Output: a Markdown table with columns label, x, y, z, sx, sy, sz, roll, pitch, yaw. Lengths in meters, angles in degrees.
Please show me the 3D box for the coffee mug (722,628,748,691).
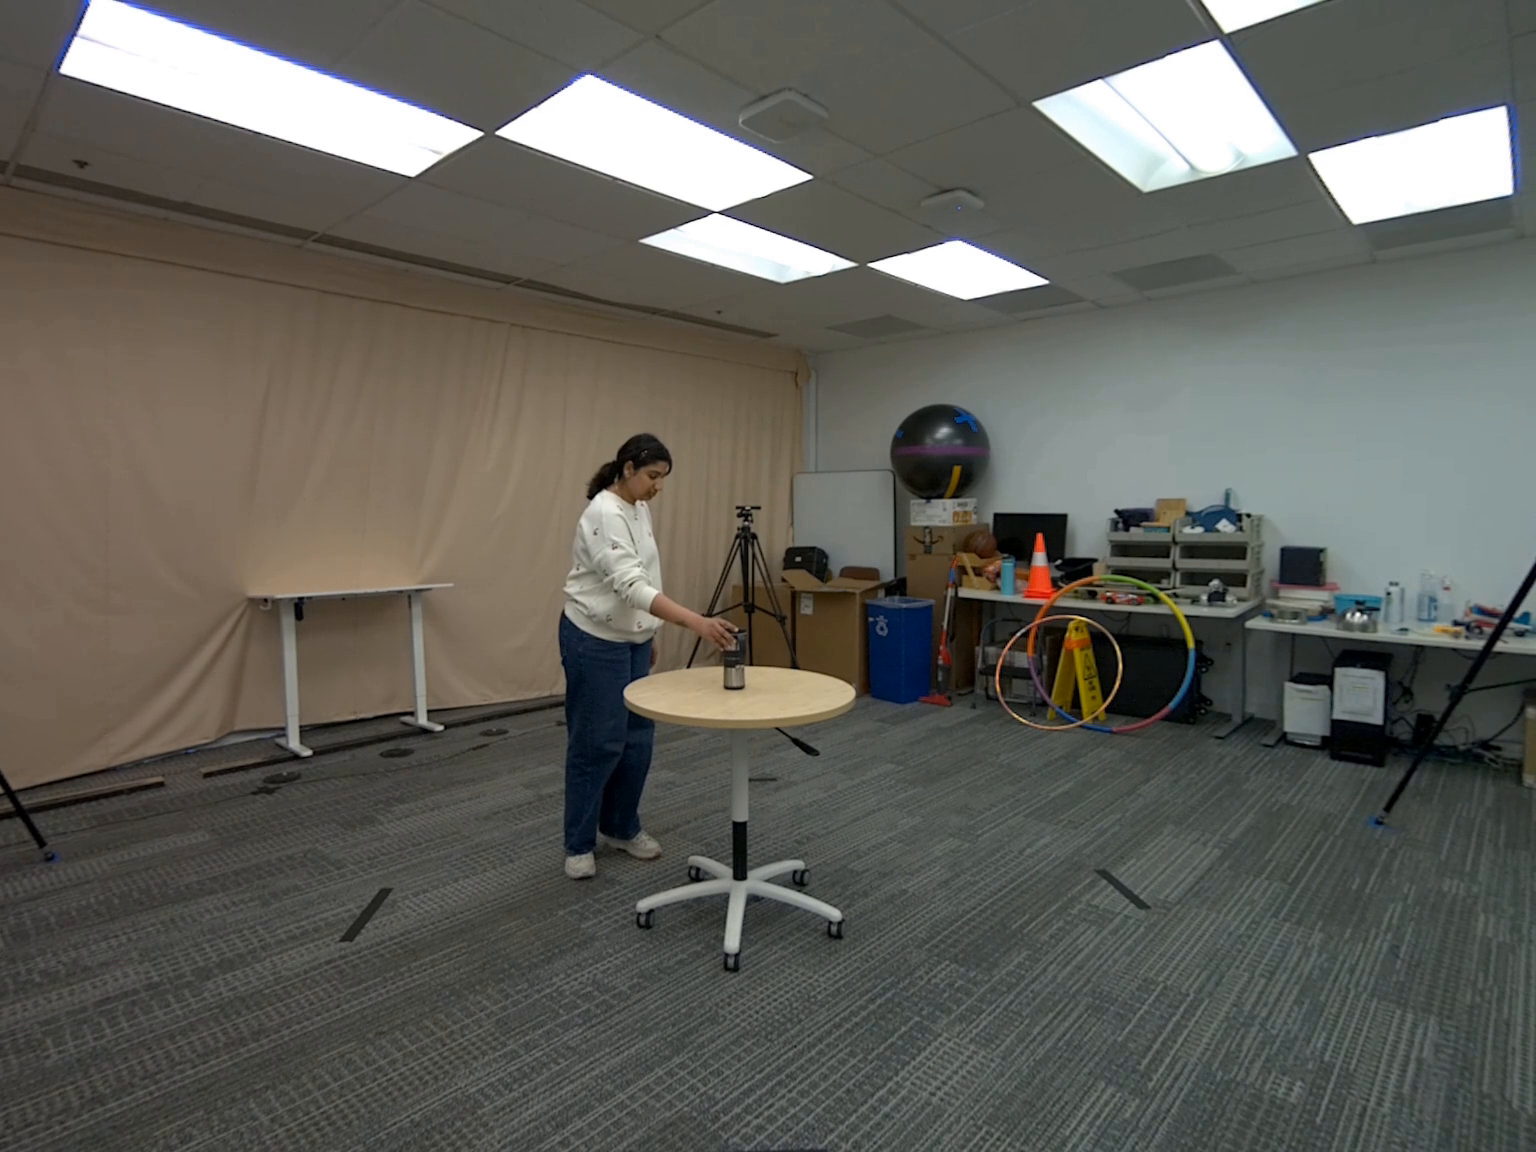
| label | x | y | z | sx | sy | sz | roll | pitch | yaw |
| --- | --- | --- | --- | --- | --- | --- | --- | --- | --- |
| coffee mug | -0.126 | 0.282 | 2.785 | 0.091 | 0.202 | 0.118 | 5 | 4 | 38 |
